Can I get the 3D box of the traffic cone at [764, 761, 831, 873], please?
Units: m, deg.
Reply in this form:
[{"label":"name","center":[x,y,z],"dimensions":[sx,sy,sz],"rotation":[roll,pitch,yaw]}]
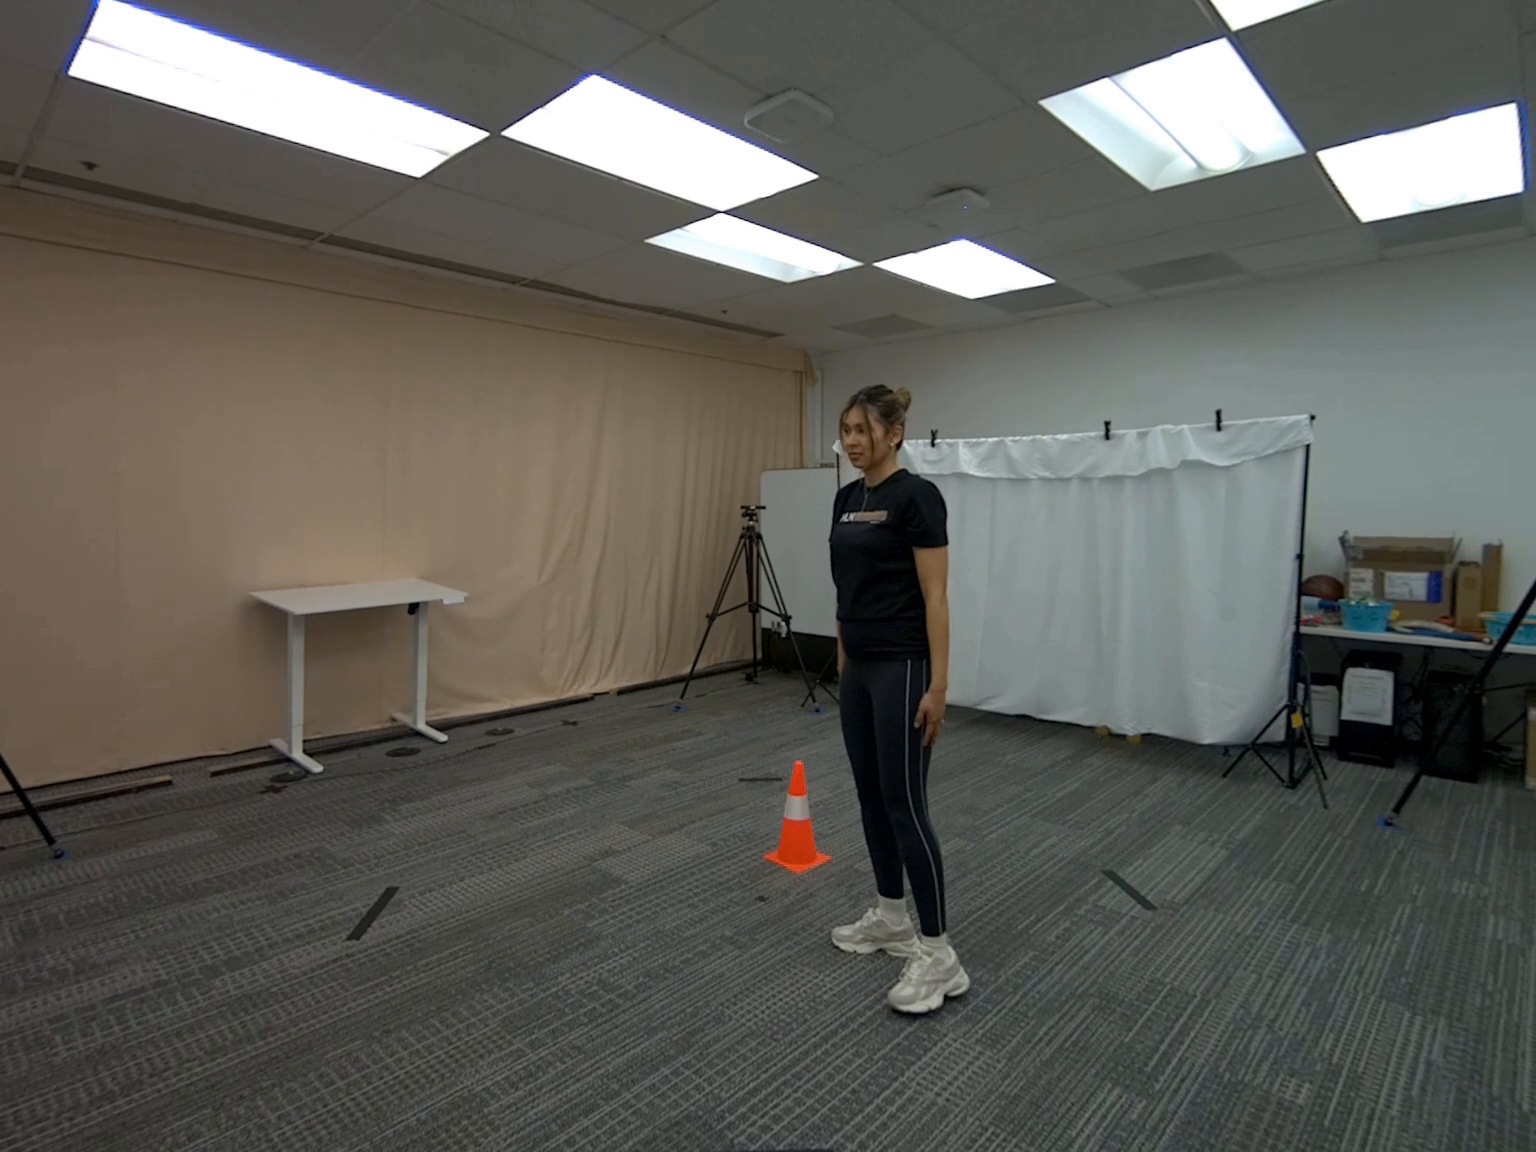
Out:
[{"label":"traffic cone","center":[0.117,0.933,3.316],"dimensions":[0.197,0.383,0.211],"rotation":[-2,5,-34]}]
